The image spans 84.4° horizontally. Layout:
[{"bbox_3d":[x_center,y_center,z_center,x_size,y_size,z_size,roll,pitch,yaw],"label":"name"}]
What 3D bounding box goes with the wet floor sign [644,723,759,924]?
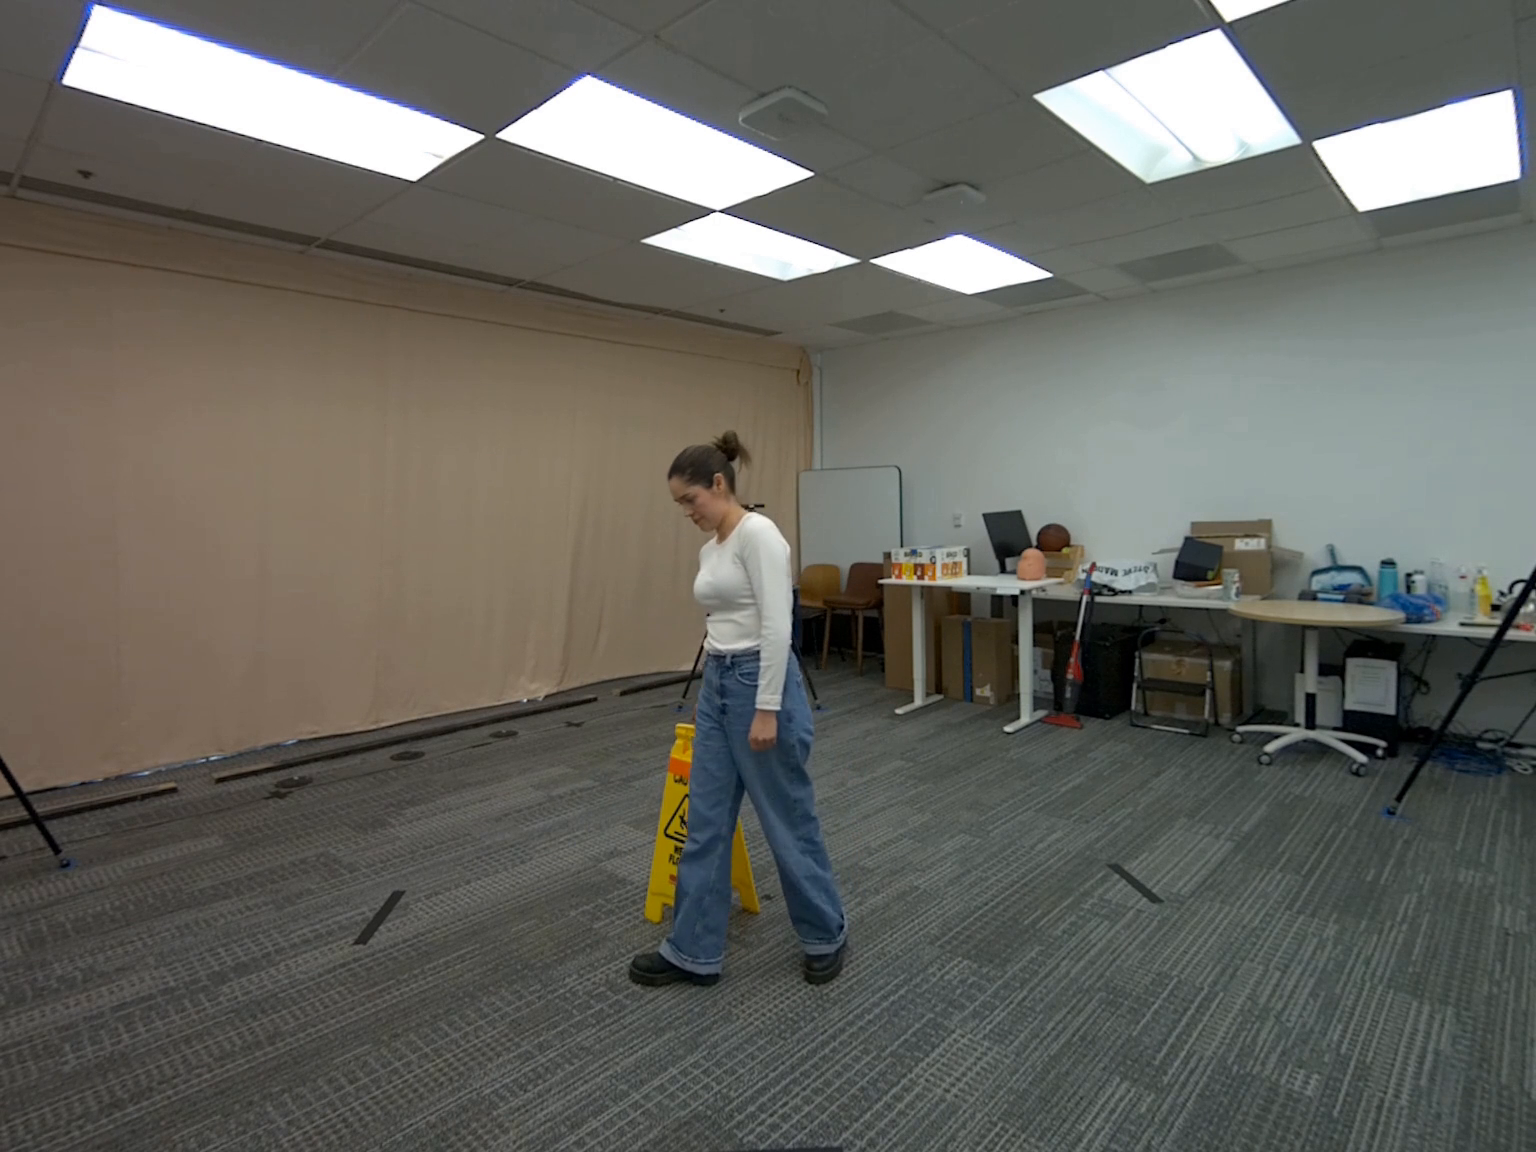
[{"bbox_3d":[-0.230,0.832,2.845,0.291,0.645,0.281,1,4,43],"label":"wet floor sign"}]
